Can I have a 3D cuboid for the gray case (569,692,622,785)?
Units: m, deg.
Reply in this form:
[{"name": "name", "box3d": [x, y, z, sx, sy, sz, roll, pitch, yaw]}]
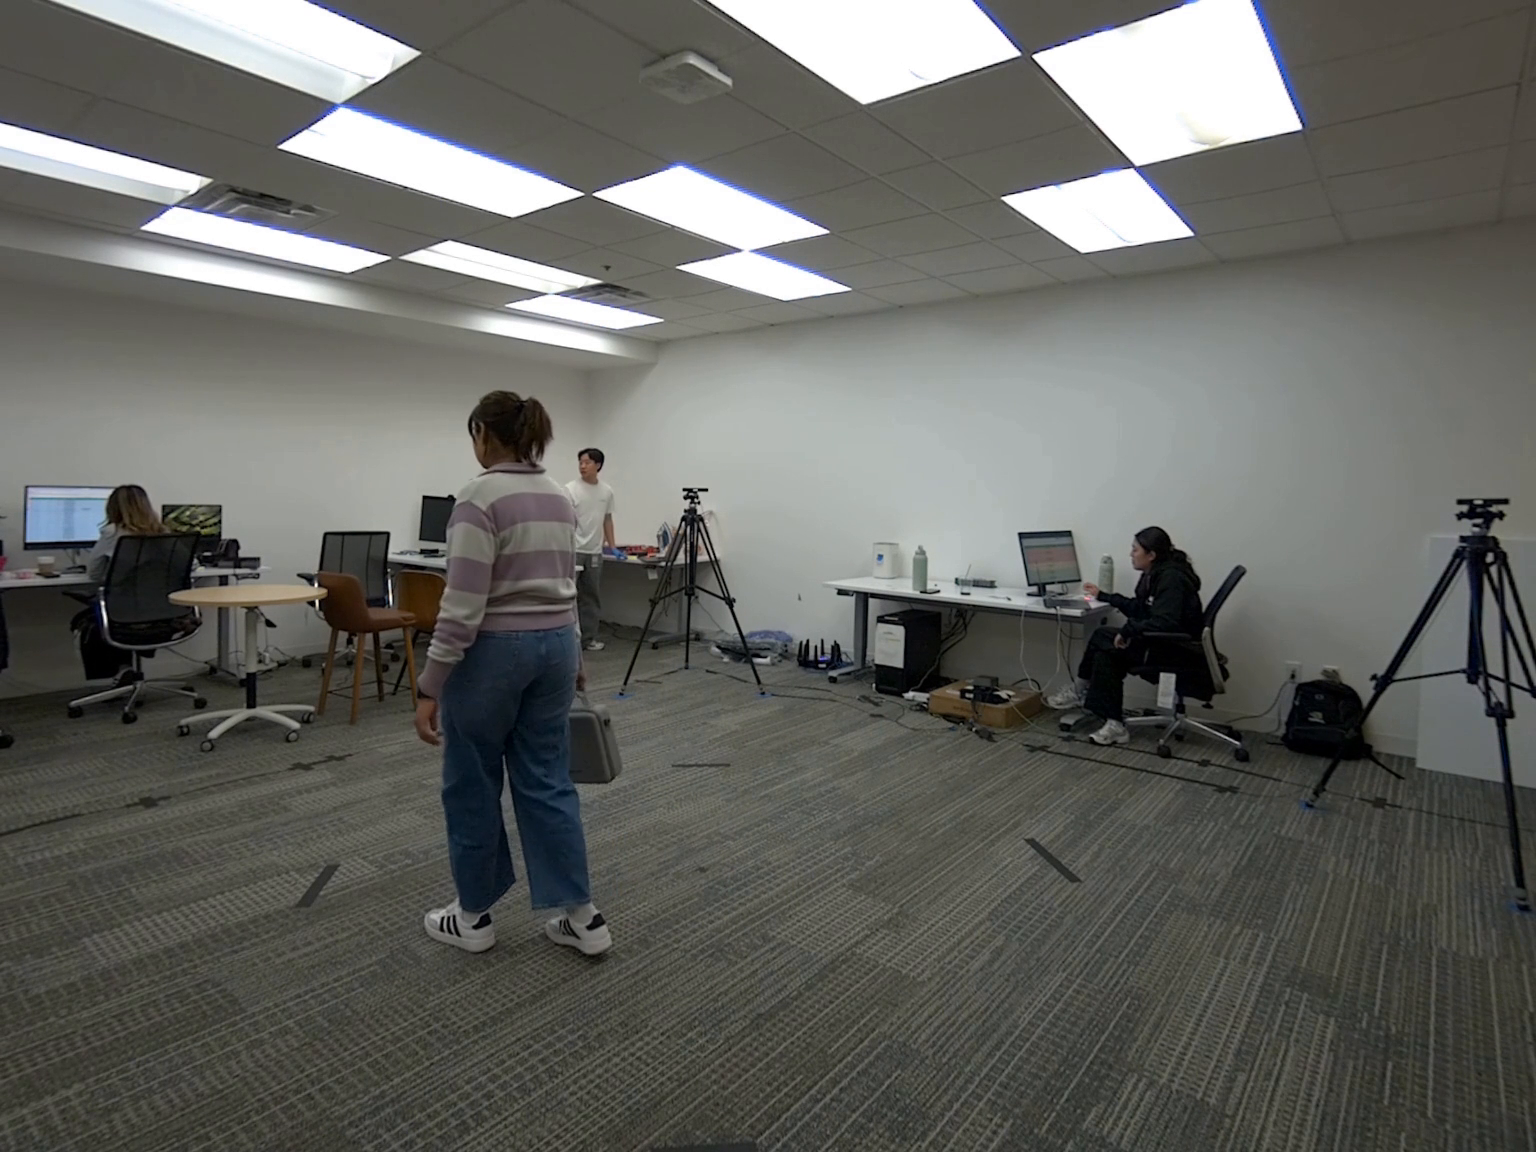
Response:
[{"name": "gray case", "box3d": [-0.653, 0.559, 2.865, 0.263, 0.259, 0.102, -7, 4, 27]}]
